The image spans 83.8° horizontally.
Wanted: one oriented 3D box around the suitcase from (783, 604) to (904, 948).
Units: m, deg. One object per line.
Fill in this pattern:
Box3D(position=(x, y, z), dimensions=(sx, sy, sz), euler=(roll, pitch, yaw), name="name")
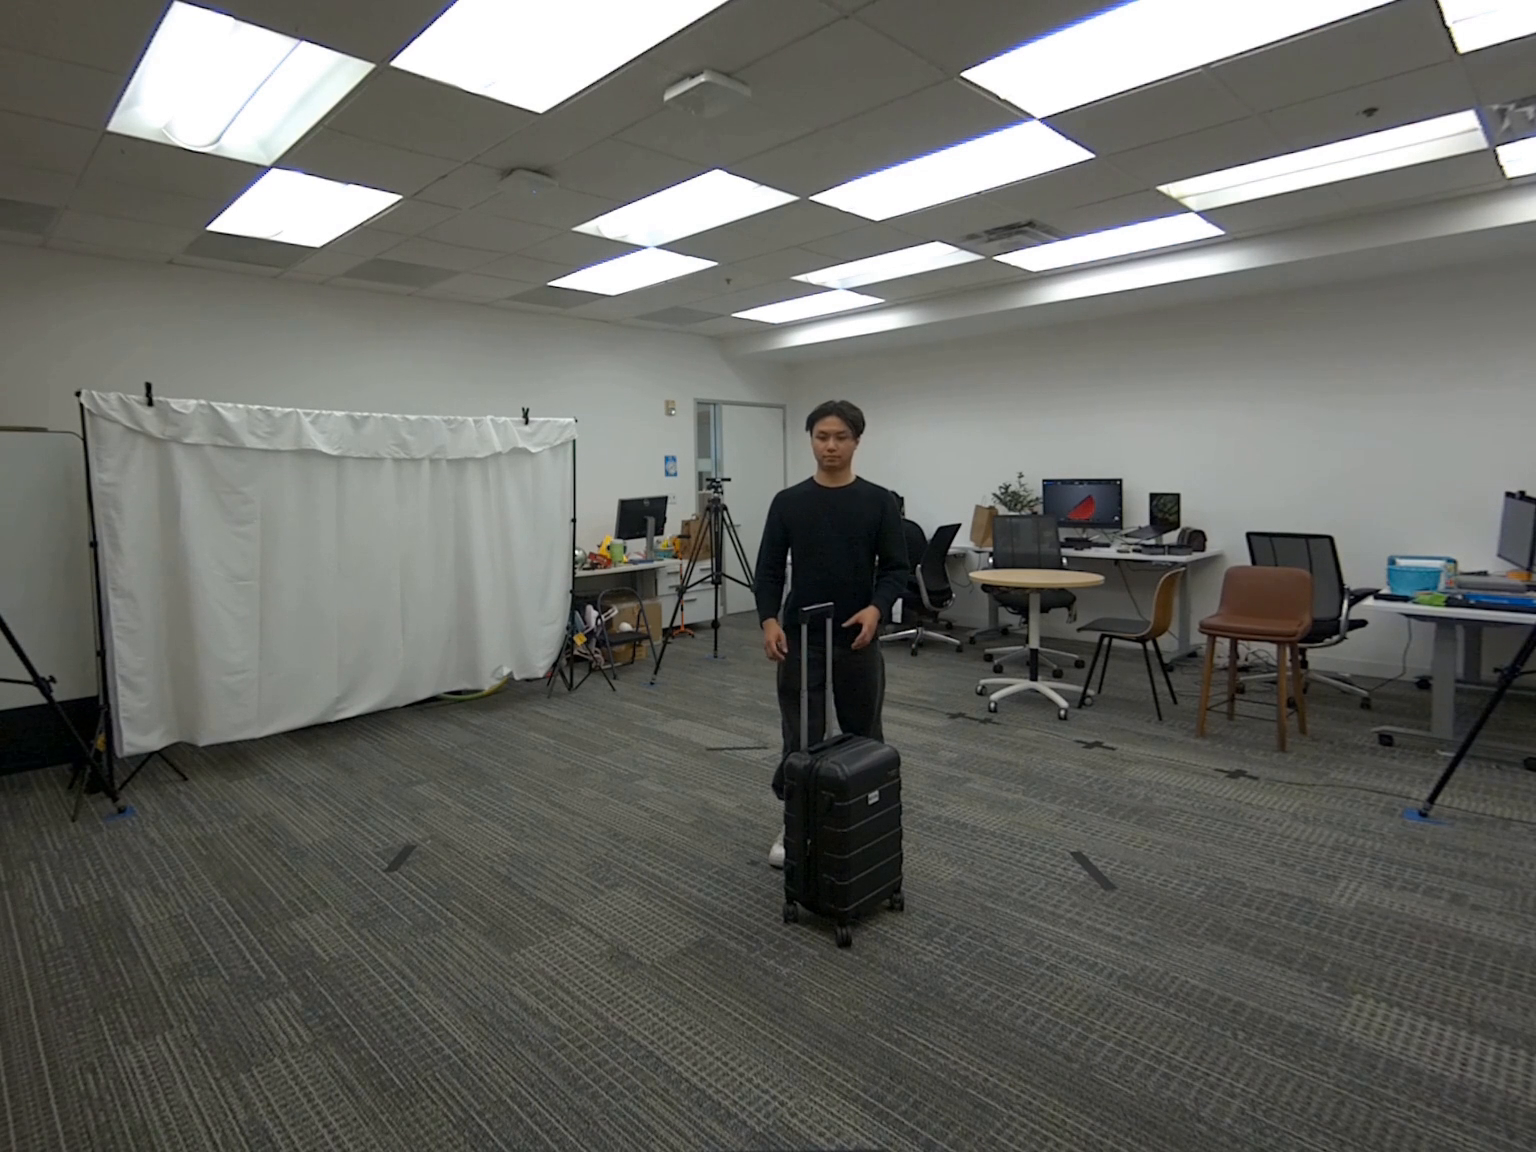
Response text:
Box3D(position=(0.250, 0.605, 2.711), dimensions=(0.265, 0.974, 0.374), euler=(5, 6, 43), name="suitcase")
